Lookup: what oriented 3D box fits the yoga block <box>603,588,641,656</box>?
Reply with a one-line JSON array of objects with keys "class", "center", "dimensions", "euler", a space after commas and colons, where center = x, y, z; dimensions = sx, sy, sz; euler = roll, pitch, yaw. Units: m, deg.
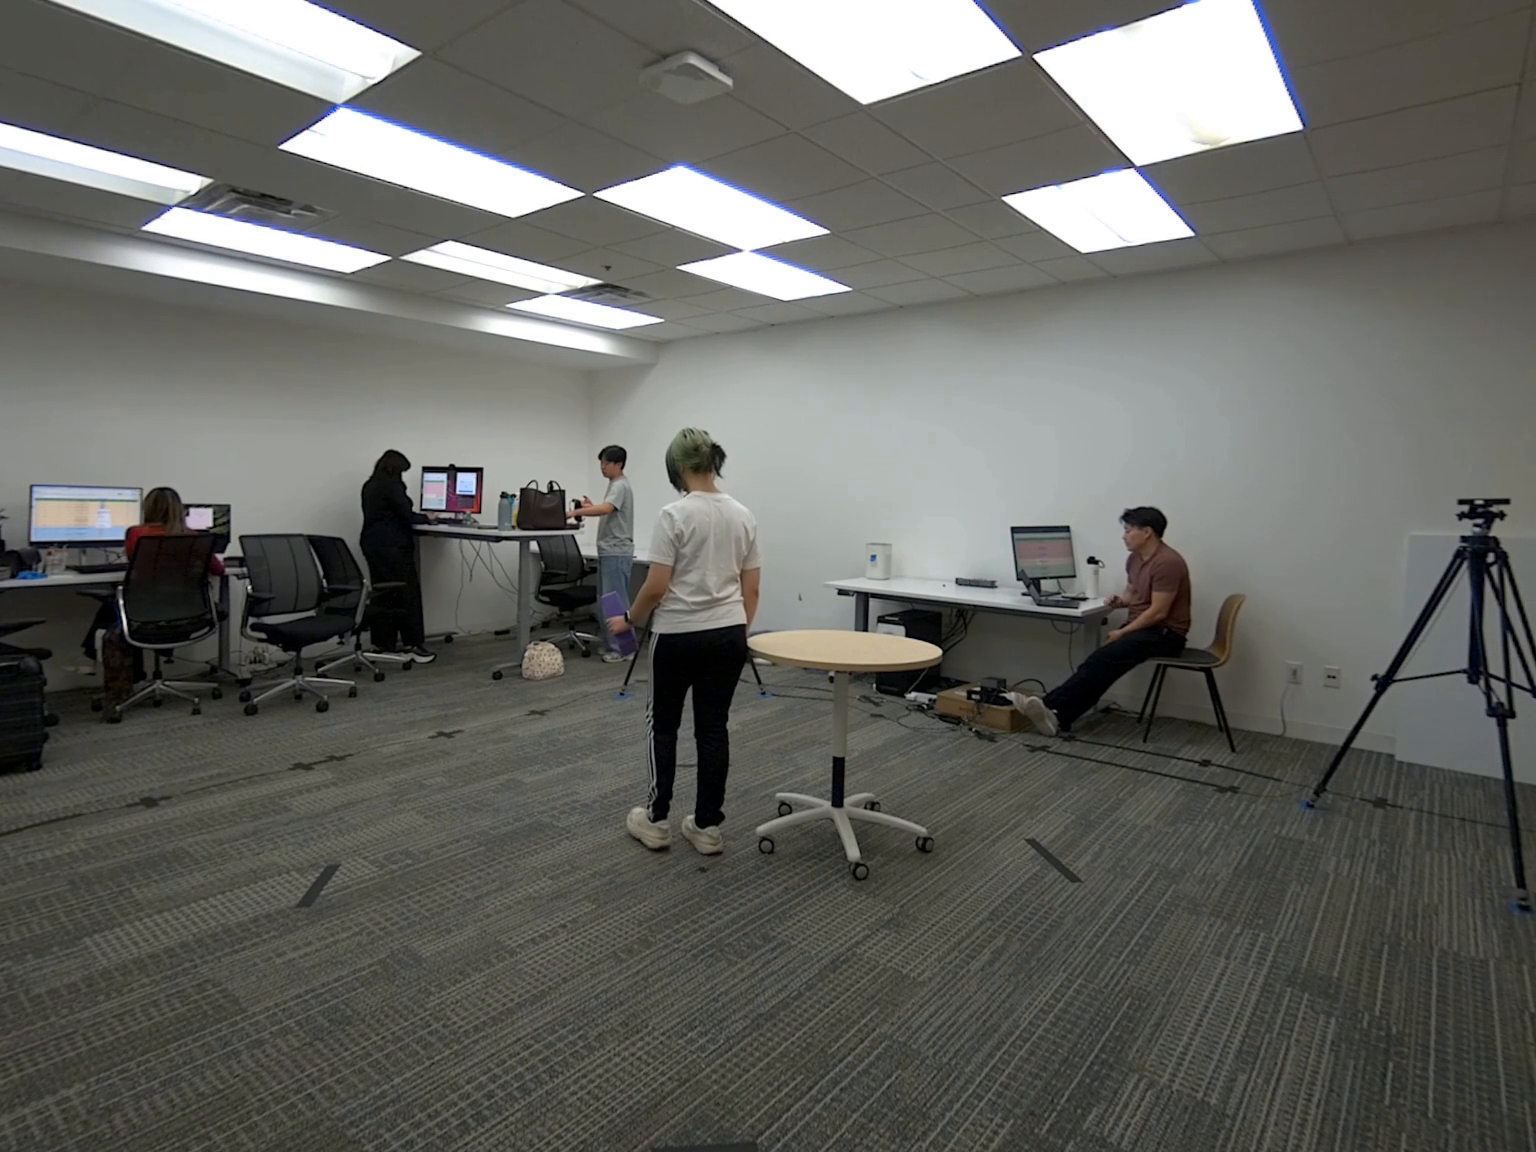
[{"class": "yoga block", "center": [-0.603, 0.188, 3.463], "dimensions": [0.076, 0.235, 0.146], "euler": [-18, -20, -12]}]
